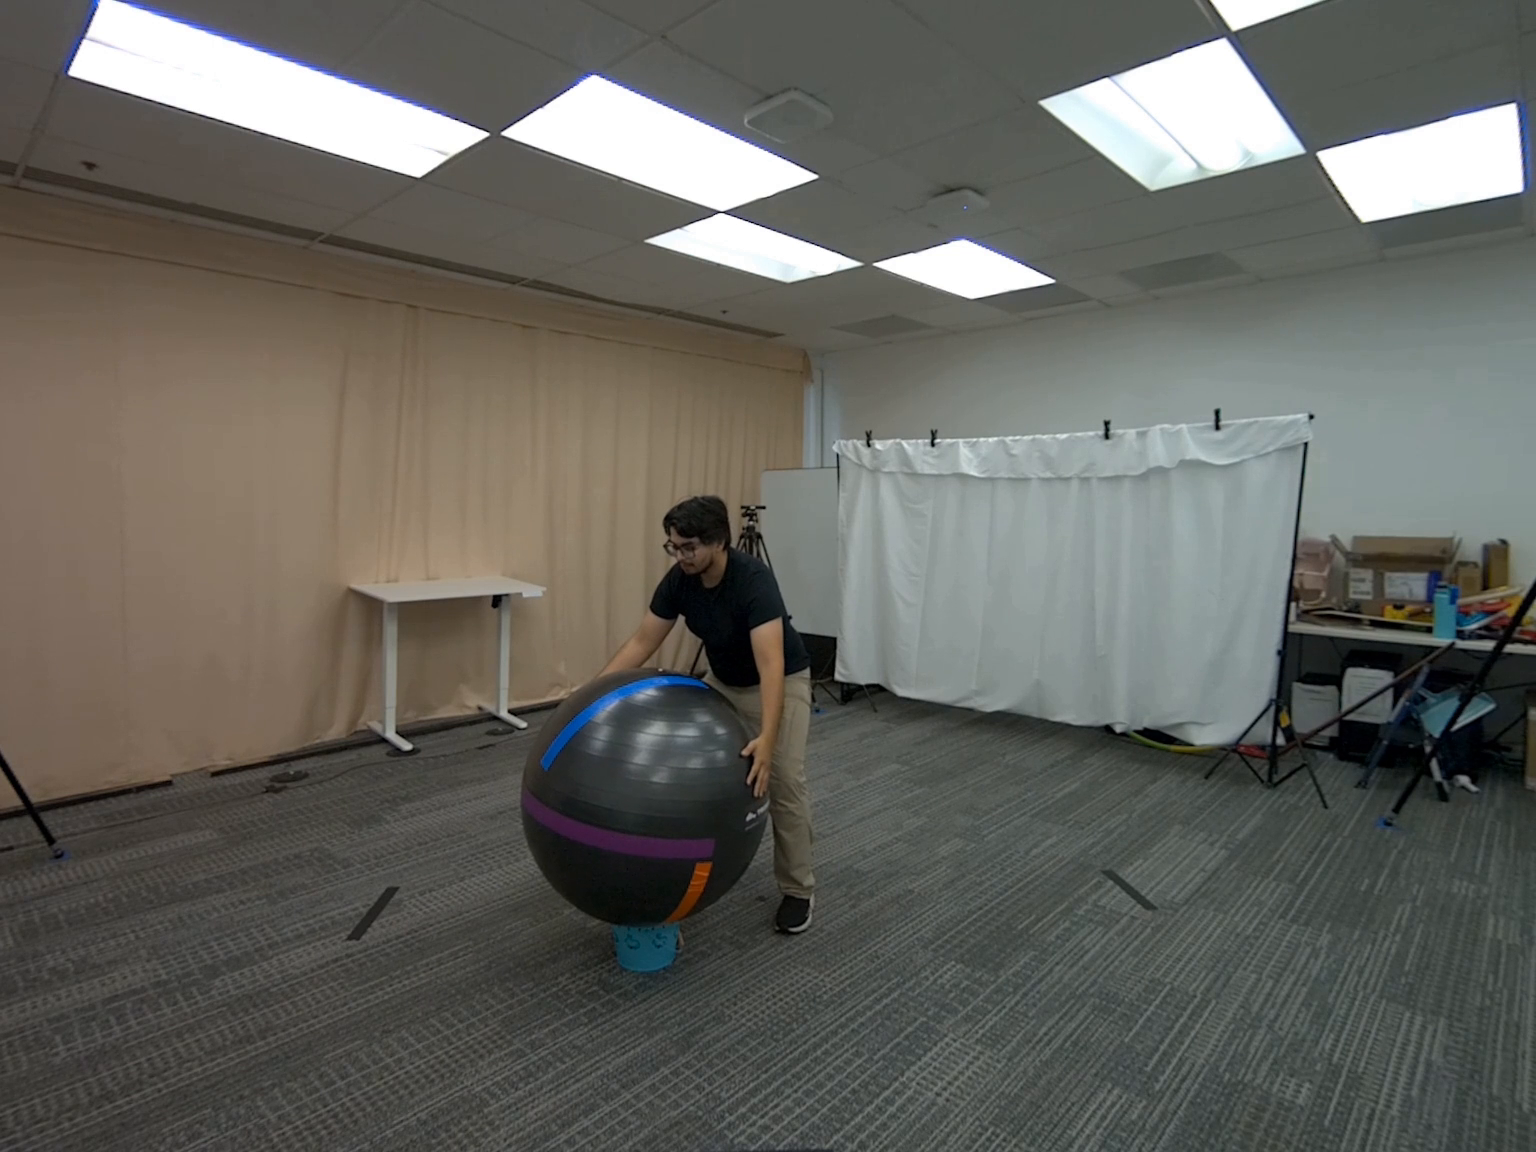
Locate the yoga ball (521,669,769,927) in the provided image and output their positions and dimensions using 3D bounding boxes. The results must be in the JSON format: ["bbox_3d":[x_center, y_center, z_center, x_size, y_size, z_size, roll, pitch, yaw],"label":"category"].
[{"bbox_3d":[-0.375,0.667,2.580,0.757,0.756,0.760,0,4,-2],"label":"yoga ball"}]
